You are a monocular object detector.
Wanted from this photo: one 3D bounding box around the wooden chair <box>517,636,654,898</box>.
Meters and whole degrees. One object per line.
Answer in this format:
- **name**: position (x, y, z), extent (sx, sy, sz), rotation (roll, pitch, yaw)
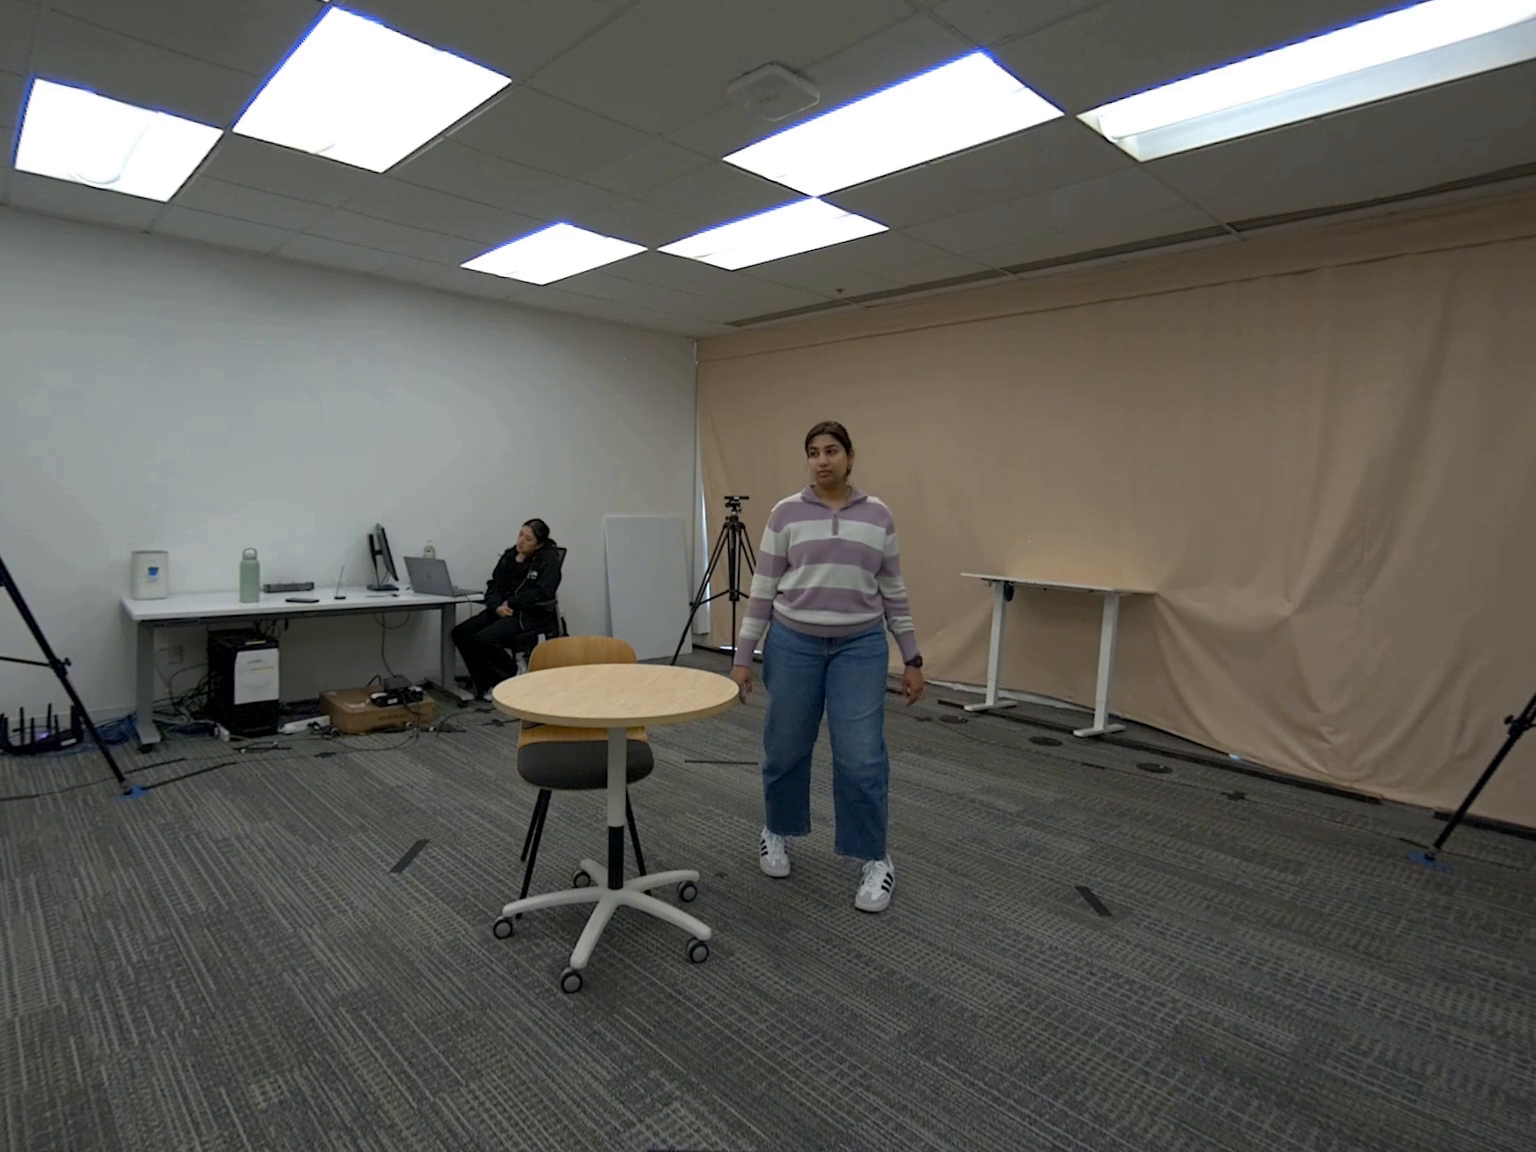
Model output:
- **wooden chair**: position (-0.646, 0.675, 2.971), extent (0.473, 0.878, 0.529), rotation (1, 0, -14)
